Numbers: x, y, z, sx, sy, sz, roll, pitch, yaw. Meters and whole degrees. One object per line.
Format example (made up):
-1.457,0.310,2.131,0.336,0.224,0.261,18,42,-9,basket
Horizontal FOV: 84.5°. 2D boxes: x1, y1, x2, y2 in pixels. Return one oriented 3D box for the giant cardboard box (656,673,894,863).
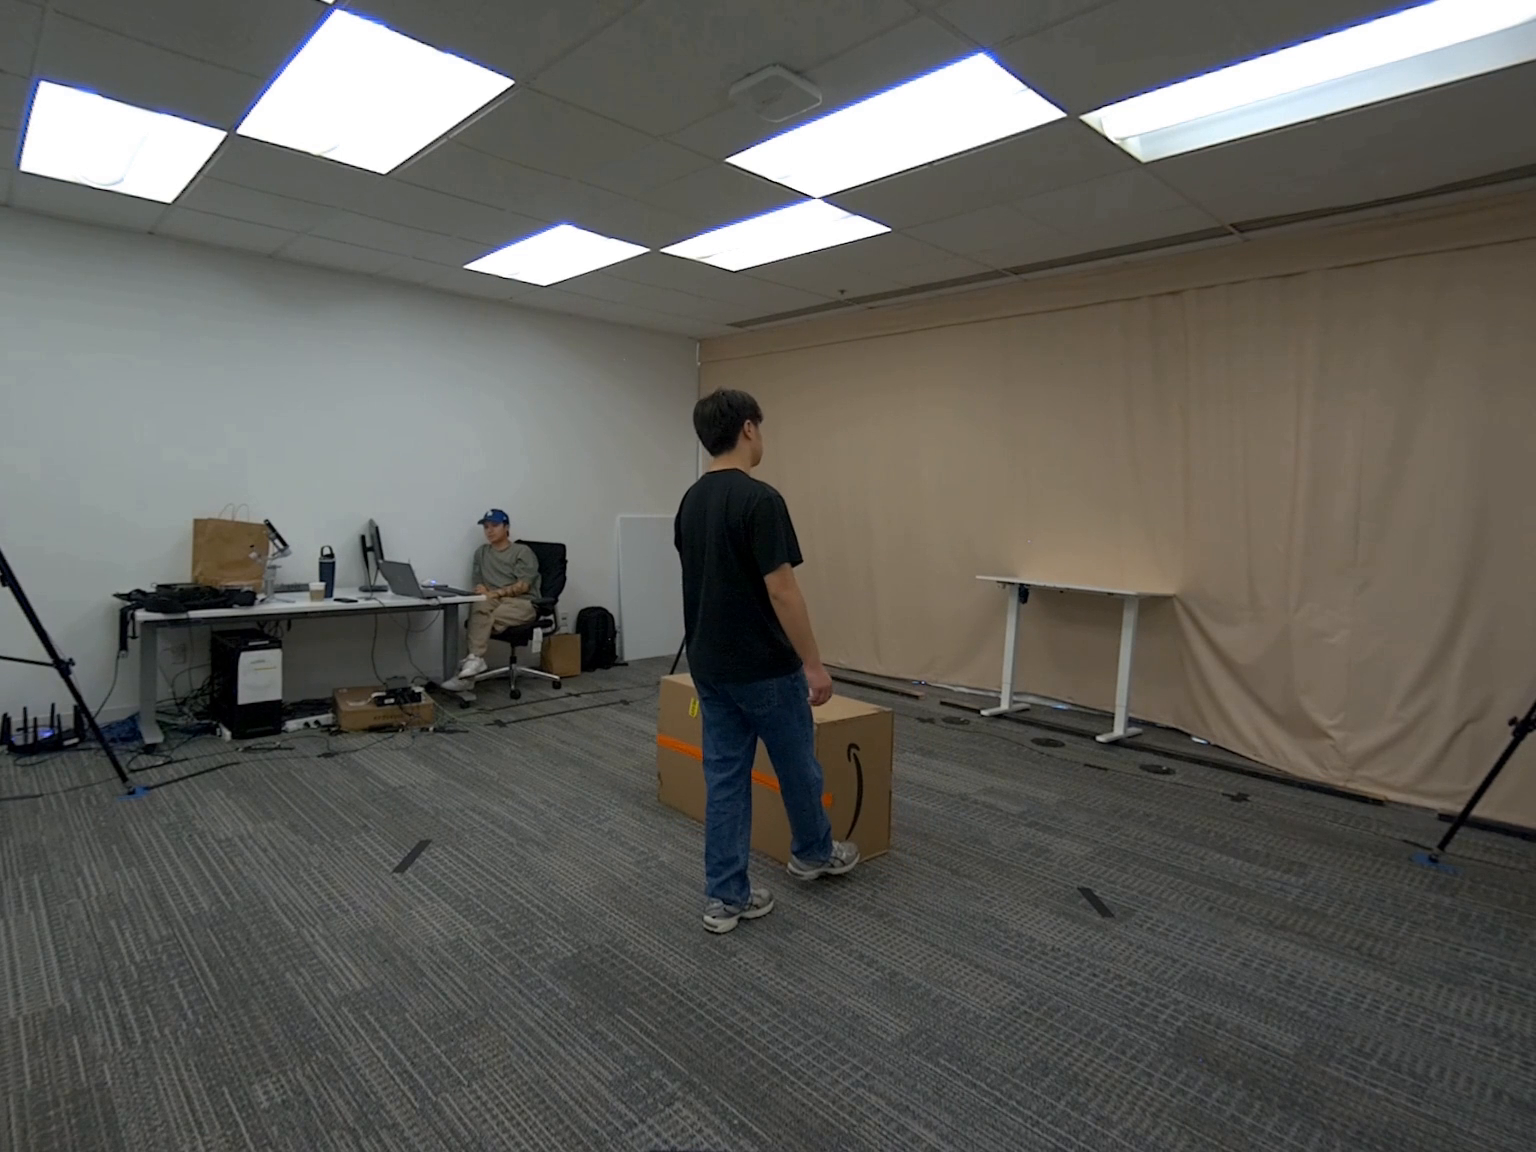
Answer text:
-0.012,0.780,3.597,0.437,0.582,1.053,-3,6,-41,giant cardboard box
